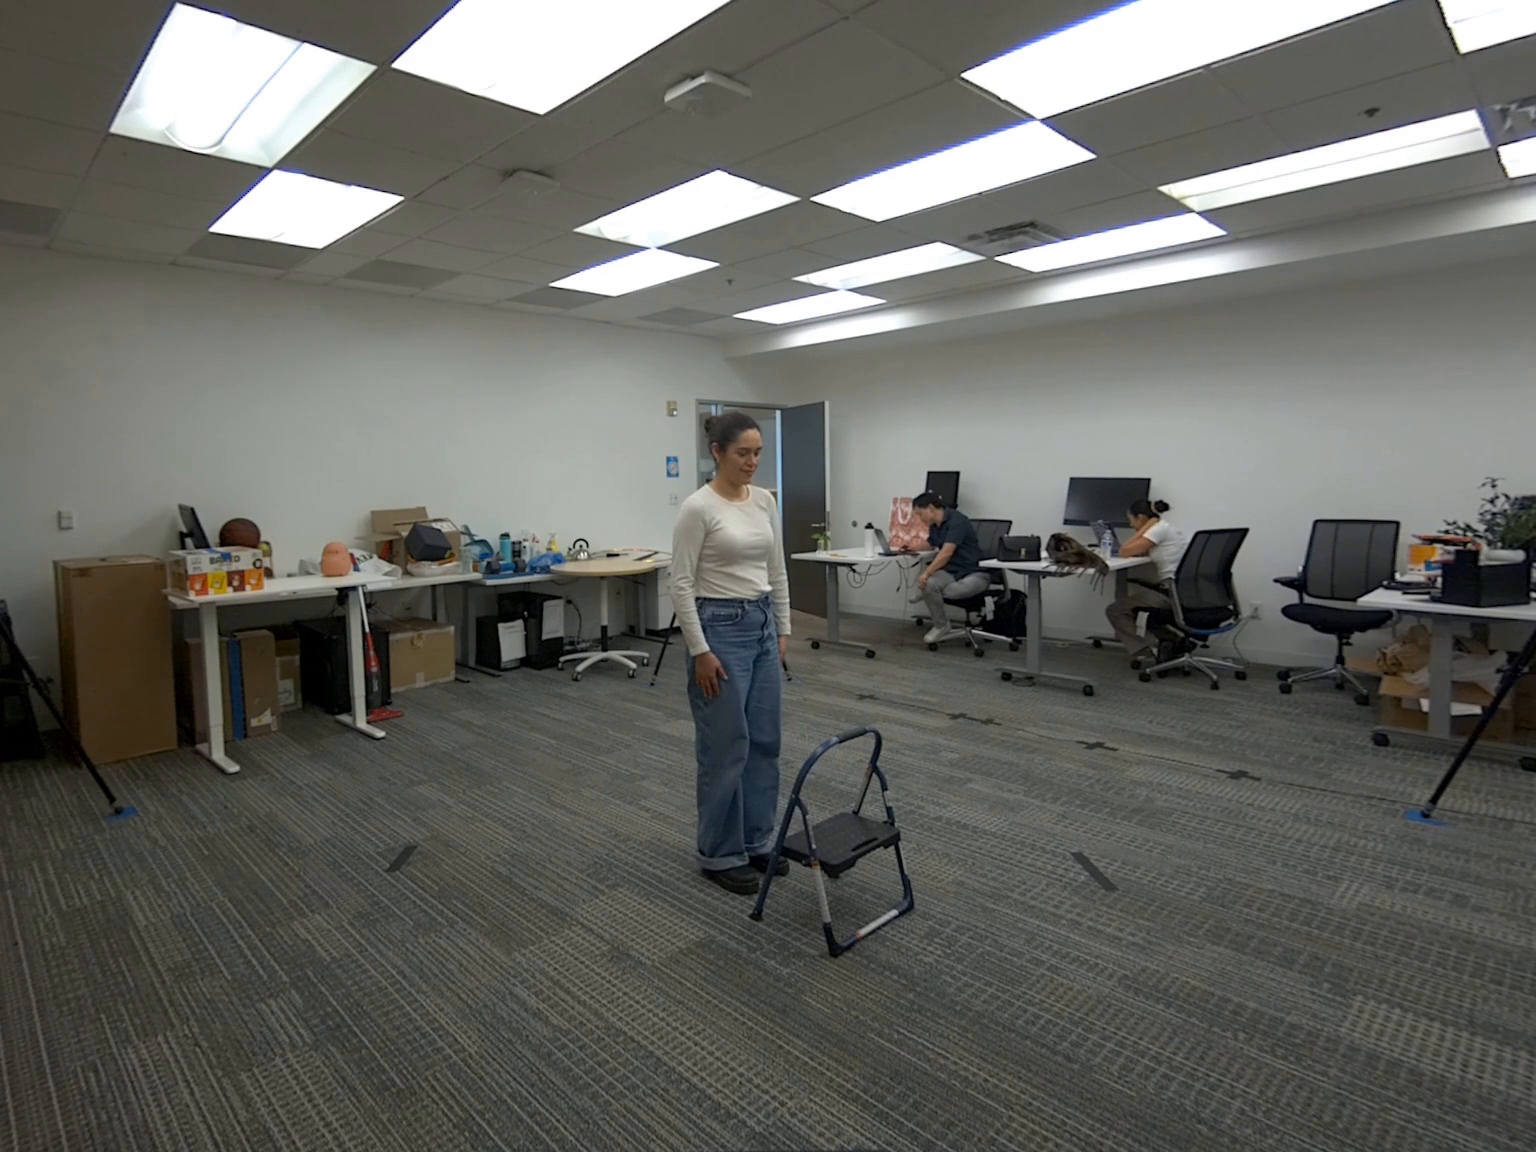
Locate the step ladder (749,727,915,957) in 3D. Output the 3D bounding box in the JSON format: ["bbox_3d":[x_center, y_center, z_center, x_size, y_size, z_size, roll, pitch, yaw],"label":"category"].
[{"bbox_3d":[0.204,0.778,2.729,0.360,0.604,0.419,2,6,44],"label":"step ladder"}]
